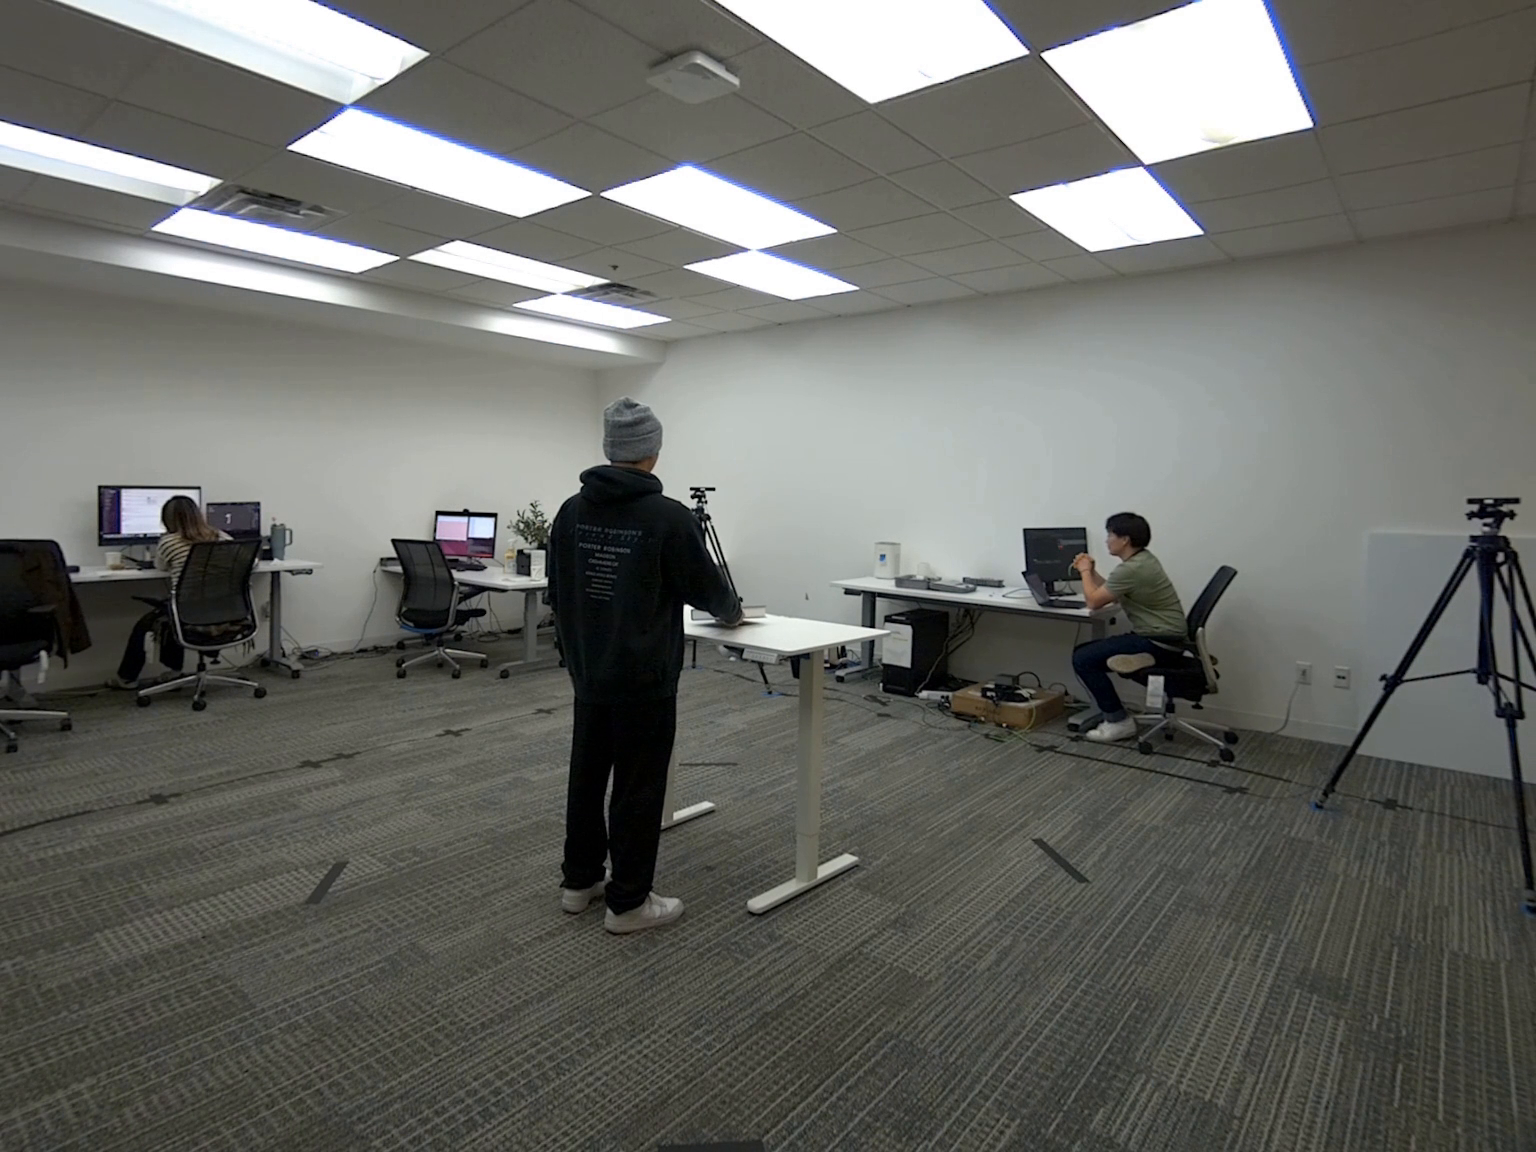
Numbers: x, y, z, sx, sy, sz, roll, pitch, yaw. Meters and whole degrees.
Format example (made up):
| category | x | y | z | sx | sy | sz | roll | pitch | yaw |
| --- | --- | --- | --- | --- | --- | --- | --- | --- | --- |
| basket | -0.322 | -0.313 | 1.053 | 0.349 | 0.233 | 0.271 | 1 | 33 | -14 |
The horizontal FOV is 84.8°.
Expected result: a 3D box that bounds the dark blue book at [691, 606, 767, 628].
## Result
| category | x | y | z | sx | sy | sz | roll | pitch | yaw |
| --- | --- | --- | --- | --- | --- | --- | --- | --- | --- |
| dark blue book | -0.151 | 0.138 | 3.183 | 0.168 | 0.045 | 0.237 | -3 | -2 | 44 |
